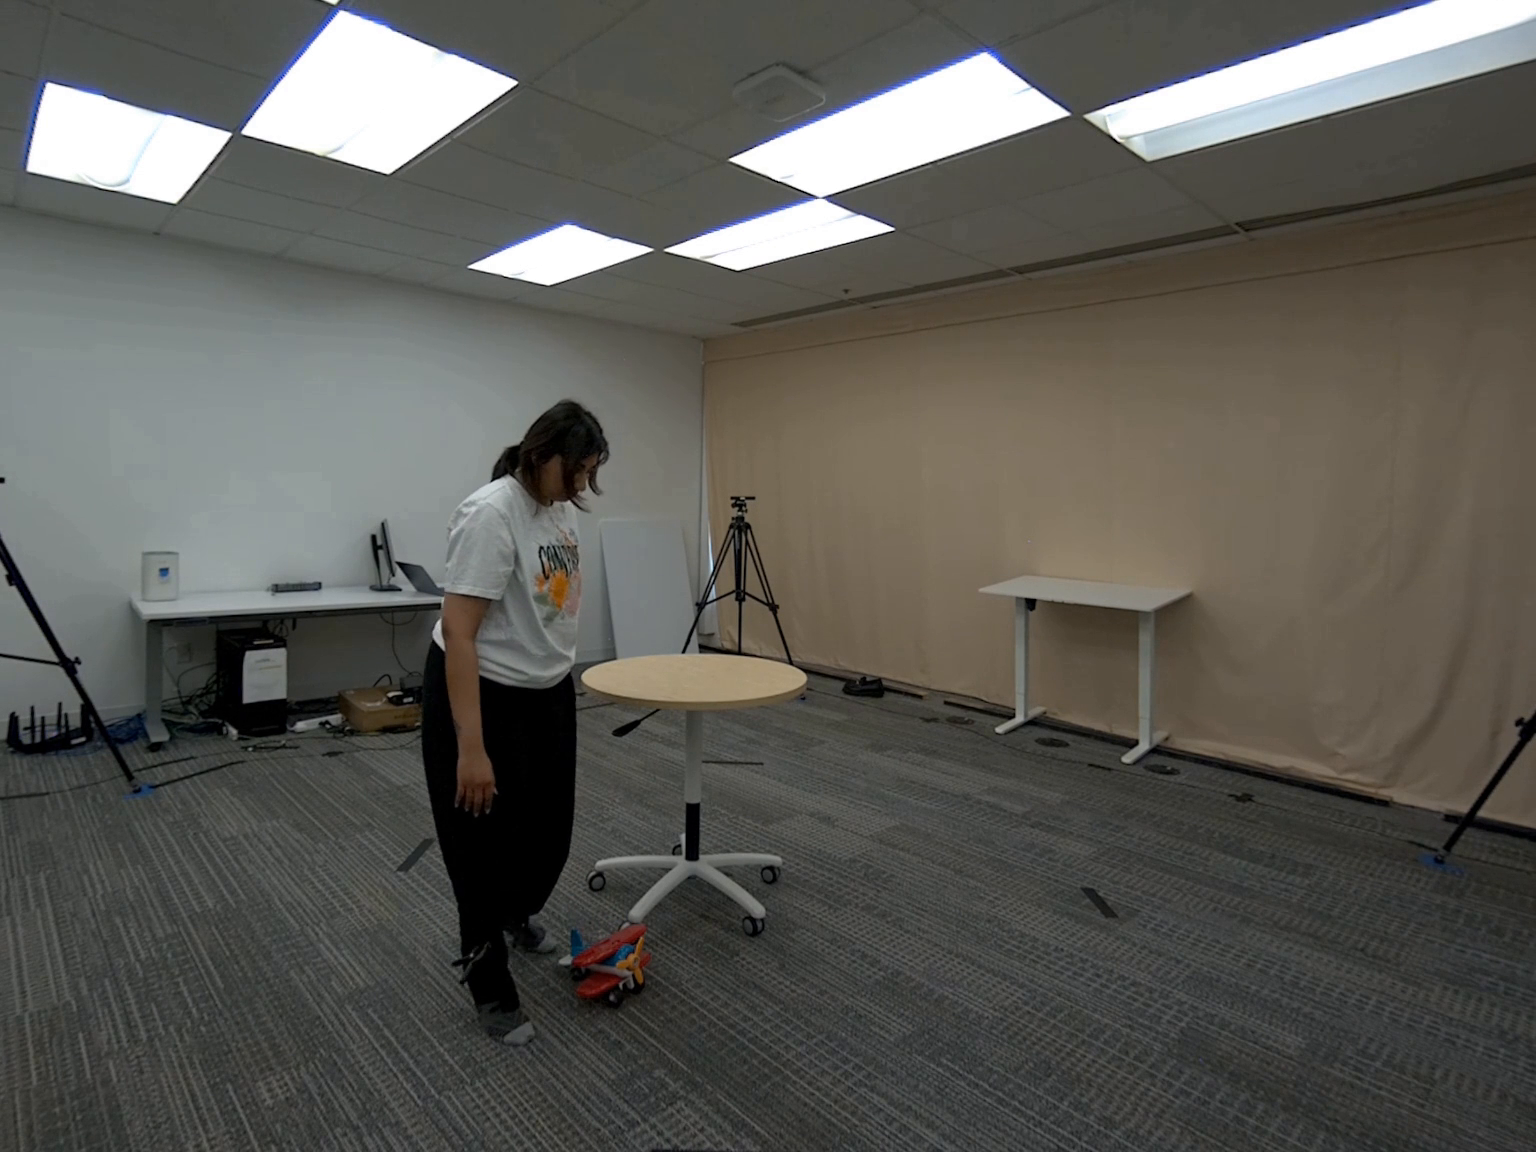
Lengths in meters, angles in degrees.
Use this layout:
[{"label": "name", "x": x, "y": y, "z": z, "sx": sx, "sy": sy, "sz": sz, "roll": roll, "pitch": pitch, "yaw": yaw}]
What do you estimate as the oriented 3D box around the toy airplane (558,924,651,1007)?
[{"label": "toy airplane", "x": -0.480, "y": 1.096, "z": 2.344, "sx": 0.261, "sy": 0.156, "sz": 0.250, "roll": 2, "pitch": 6, "yaw": 8}]
